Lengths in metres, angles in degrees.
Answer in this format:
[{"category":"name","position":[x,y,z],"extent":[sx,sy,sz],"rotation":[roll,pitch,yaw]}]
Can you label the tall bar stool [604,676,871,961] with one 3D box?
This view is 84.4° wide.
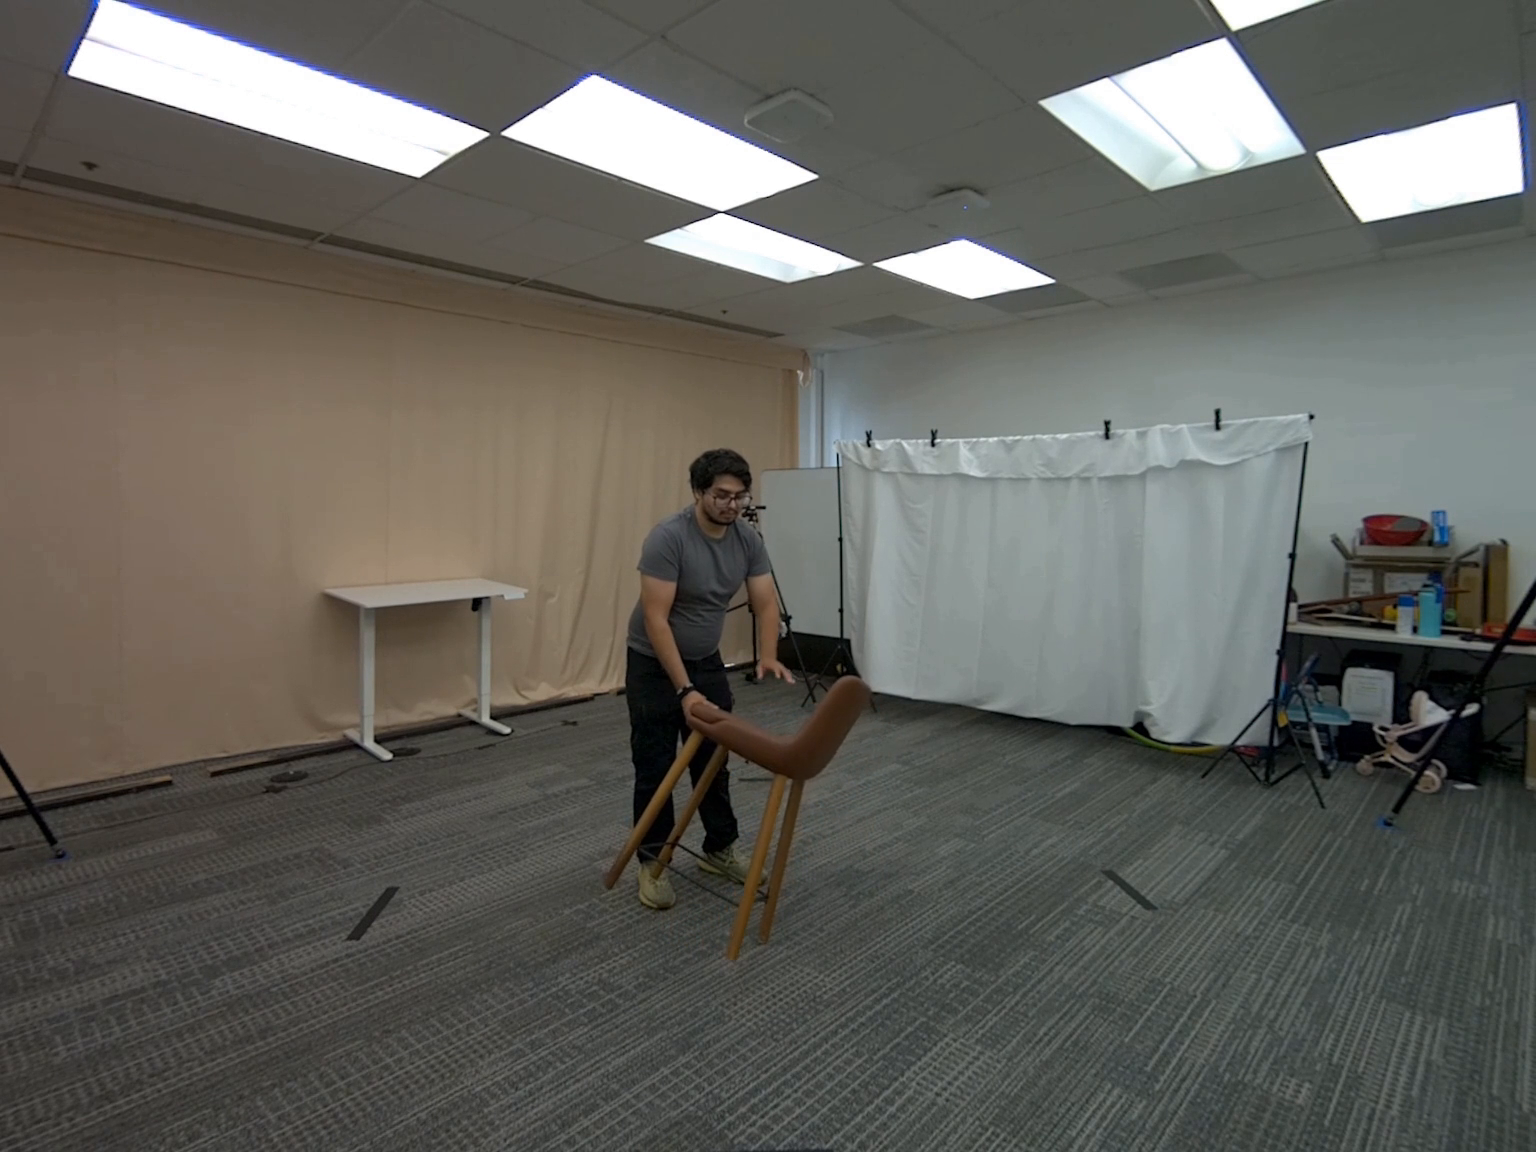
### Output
[{"category":"tall bar stool","position":[-0.071,0.665,2.657],"extent":[0.480,0.890,0.444],"rotation":[22,-8,22]}]
